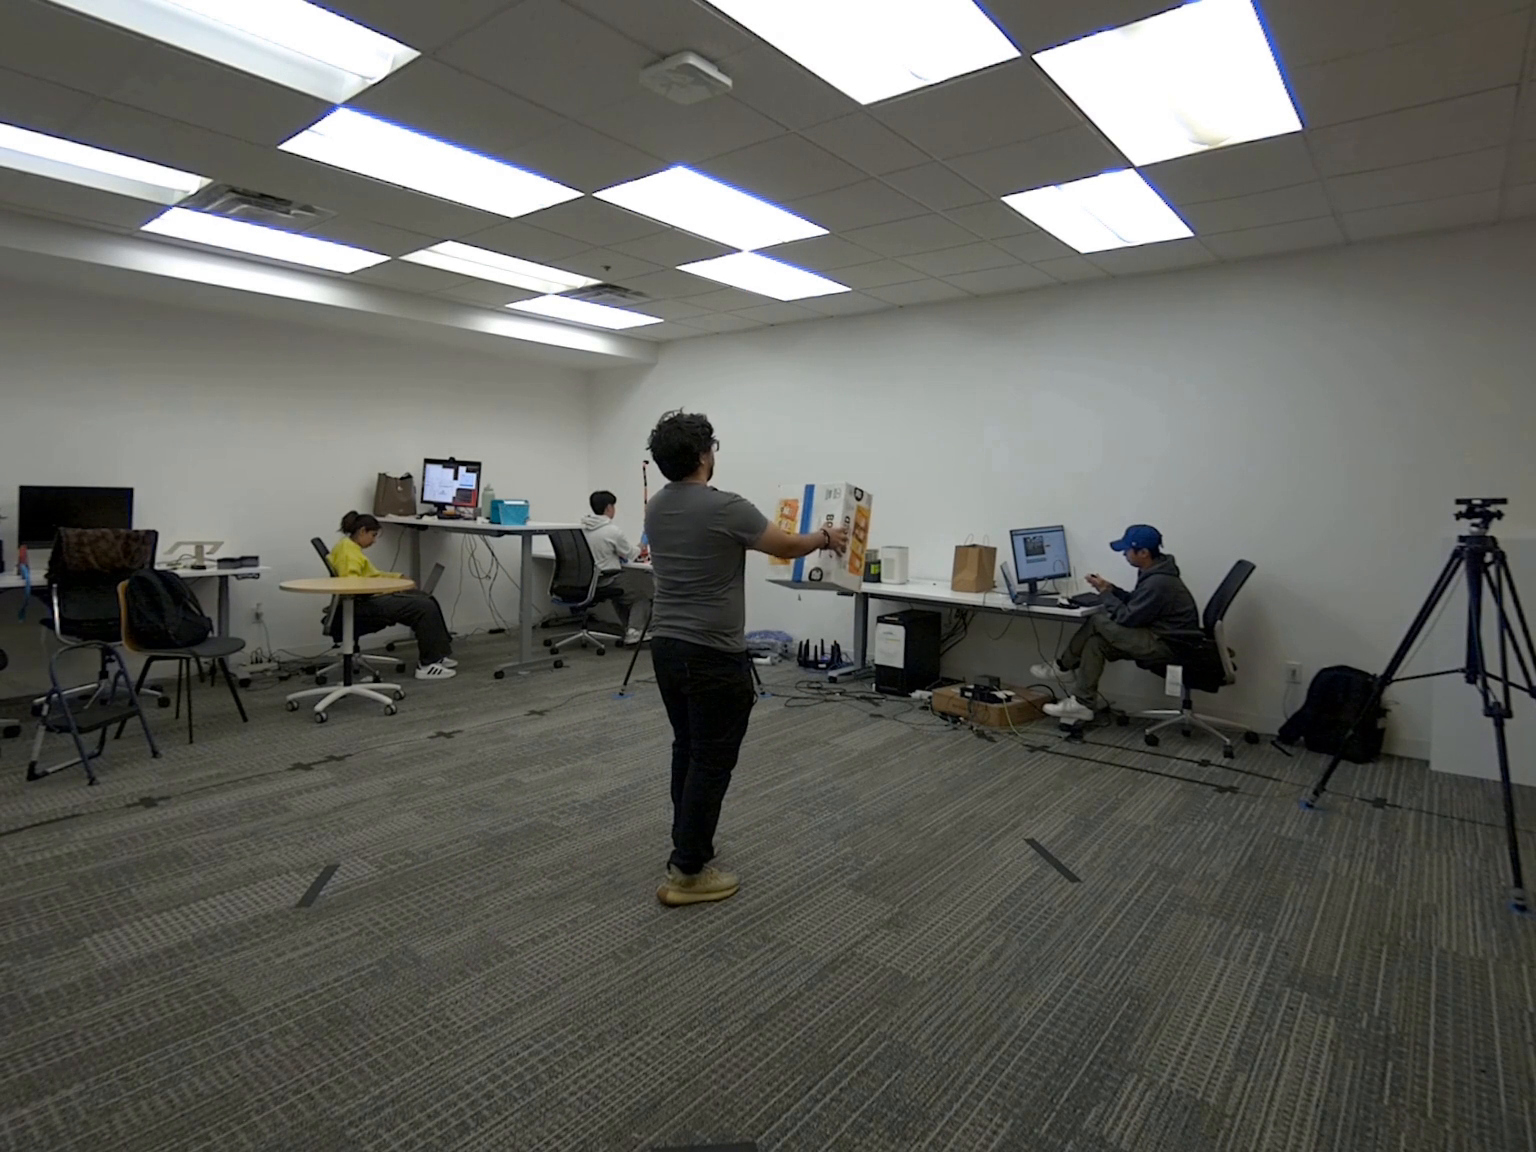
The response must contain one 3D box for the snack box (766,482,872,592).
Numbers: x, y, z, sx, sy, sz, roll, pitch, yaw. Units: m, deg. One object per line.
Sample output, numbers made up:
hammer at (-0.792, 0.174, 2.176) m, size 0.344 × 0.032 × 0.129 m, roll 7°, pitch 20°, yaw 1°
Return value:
snack box at (0.200, -0.158, 3.471) m, size 0.351 × 0.408 × 0.198 m, roll 0°, pitch -12°, yaw 42°
